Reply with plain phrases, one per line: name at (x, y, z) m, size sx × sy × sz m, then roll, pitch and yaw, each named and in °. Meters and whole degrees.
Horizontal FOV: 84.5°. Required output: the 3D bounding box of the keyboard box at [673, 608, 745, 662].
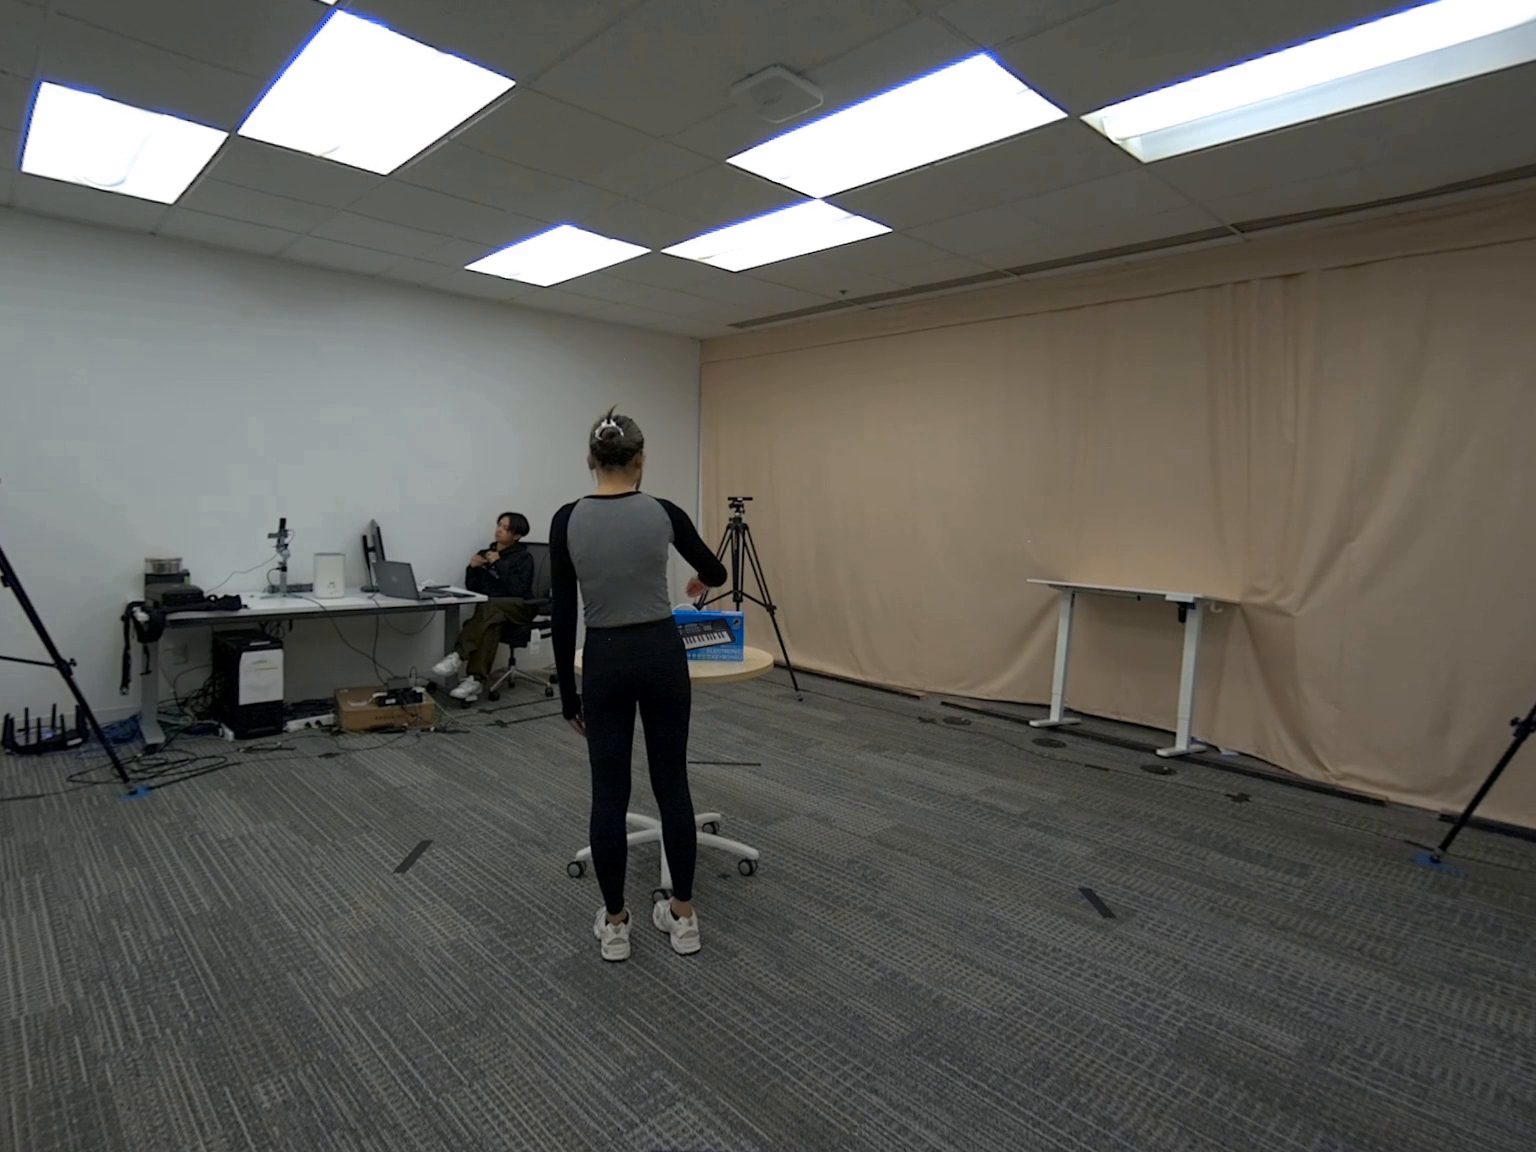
keyboard box at (-0.315, 0.215, 3.113) m, size 0.437 × 0.175 × 0.059 m, roll 2°, pitch 6°, yaw 1°
